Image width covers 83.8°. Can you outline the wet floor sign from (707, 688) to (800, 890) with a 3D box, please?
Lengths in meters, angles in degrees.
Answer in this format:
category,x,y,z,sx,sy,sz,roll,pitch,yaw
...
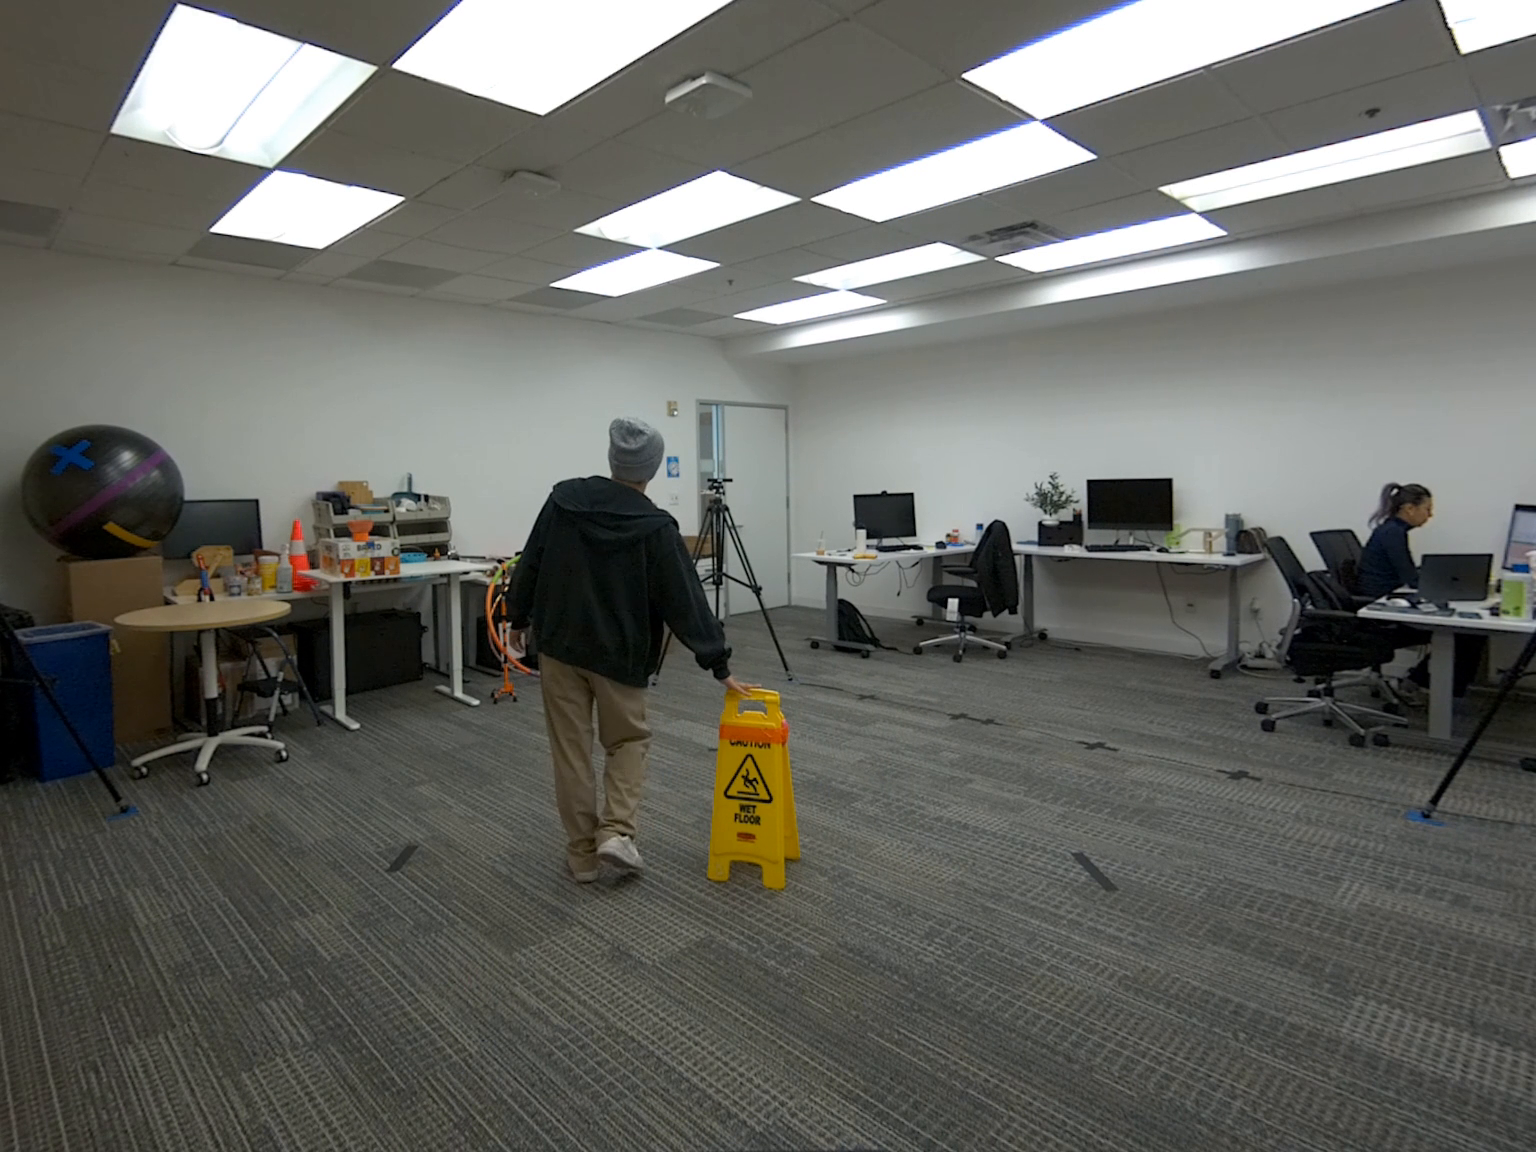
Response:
category,x,y,z,sx,sy,sz,roll,pitch,yaw
wet floor sign,-0.054,0.725,3.034,0.286,0.643,0.286,-1,4,15
